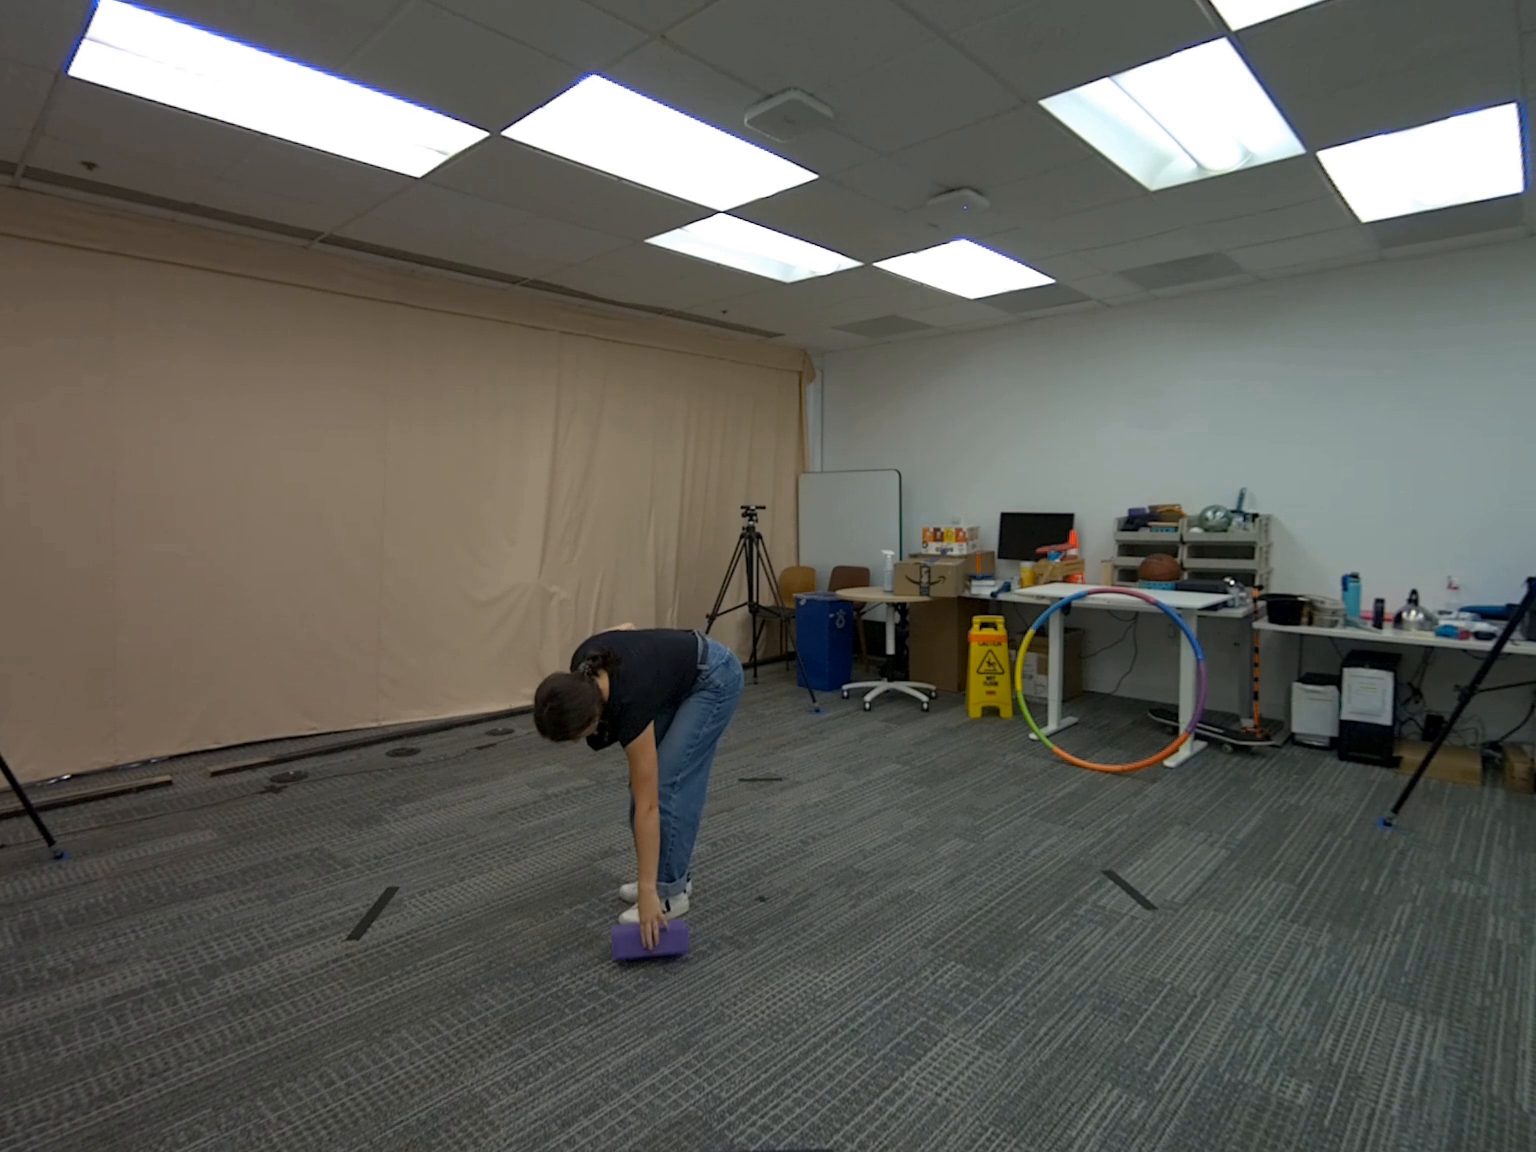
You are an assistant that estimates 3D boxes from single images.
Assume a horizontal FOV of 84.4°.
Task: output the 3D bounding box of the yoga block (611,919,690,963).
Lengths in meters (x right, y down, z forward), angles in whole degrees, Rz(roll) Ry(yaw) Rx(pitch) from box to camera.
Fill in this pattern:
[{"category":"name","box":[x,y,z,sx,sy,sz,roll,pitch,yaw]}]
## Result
[{"category":"yoga block","box":[-0.375,1.112,2.621,0.228,0.077,0.149,2,-8,-4]}]
